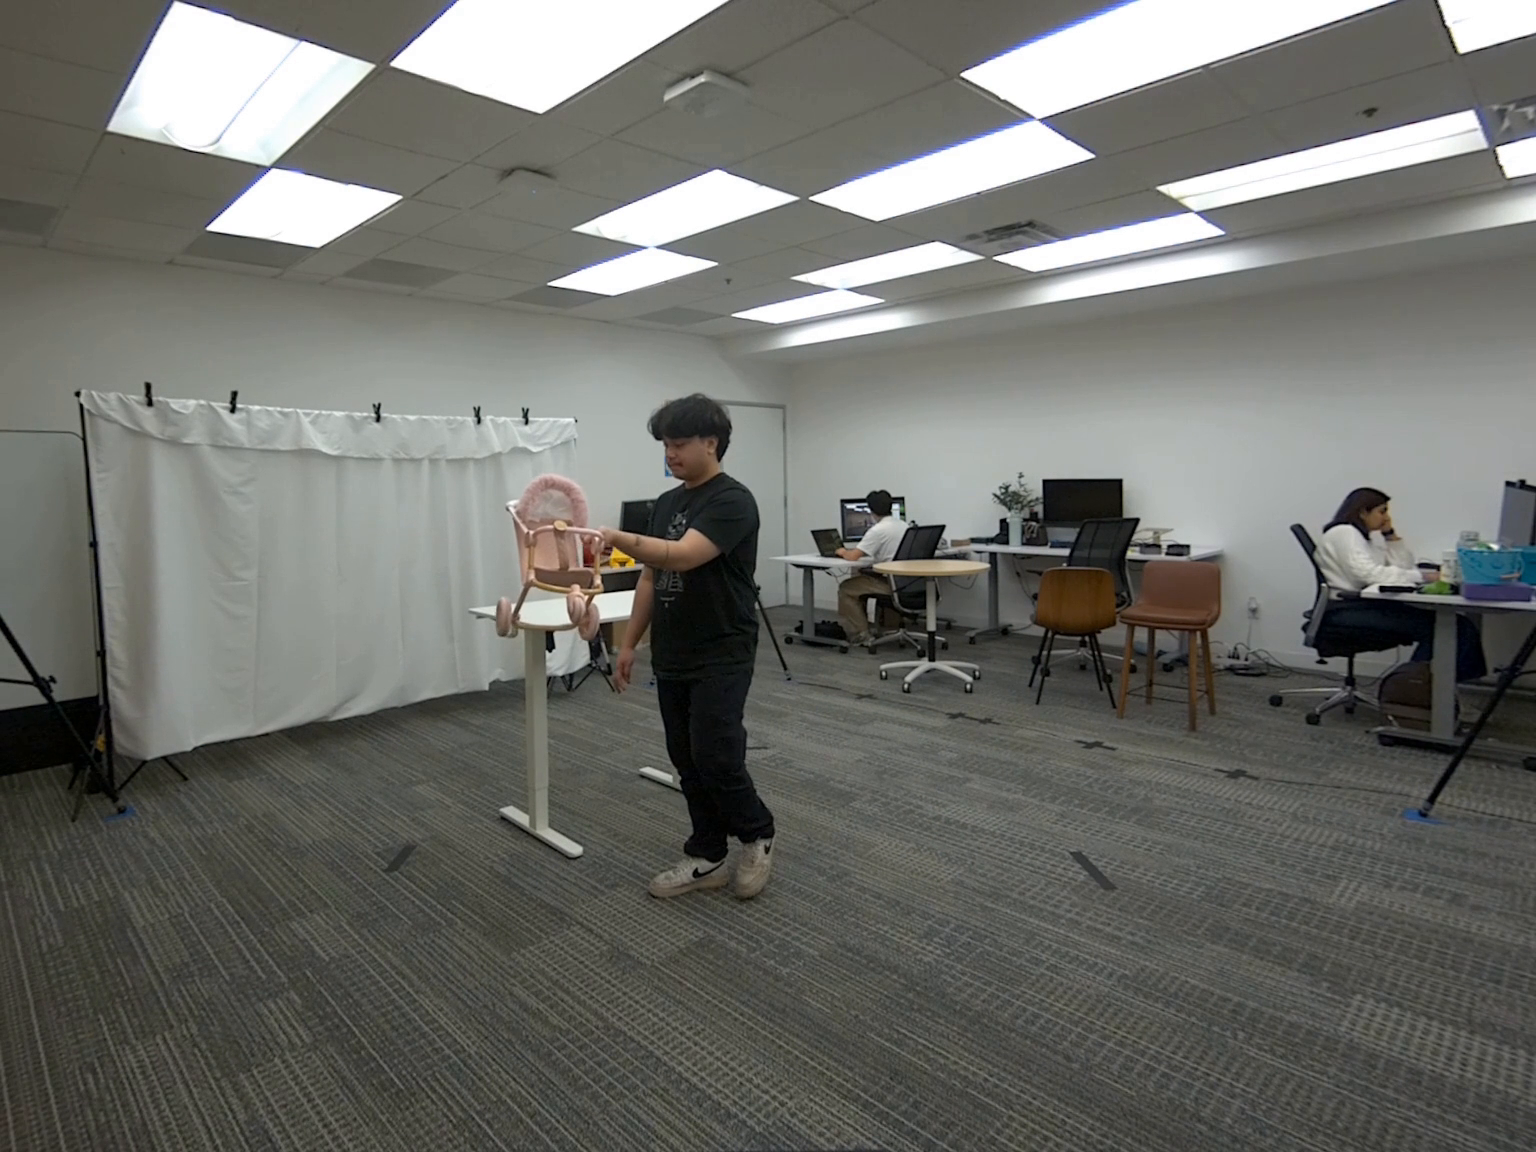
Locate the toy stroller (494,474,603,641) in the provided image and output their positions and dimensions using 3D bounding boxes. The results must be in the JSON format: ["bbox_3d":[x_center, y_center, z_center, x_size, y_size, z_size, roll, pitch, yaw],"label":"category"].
[{"bbox_3d":[-0.594,-0.060,2.395,0.275,0.549,0.340,3,-30,-25],"label":"toy stroller"}]
